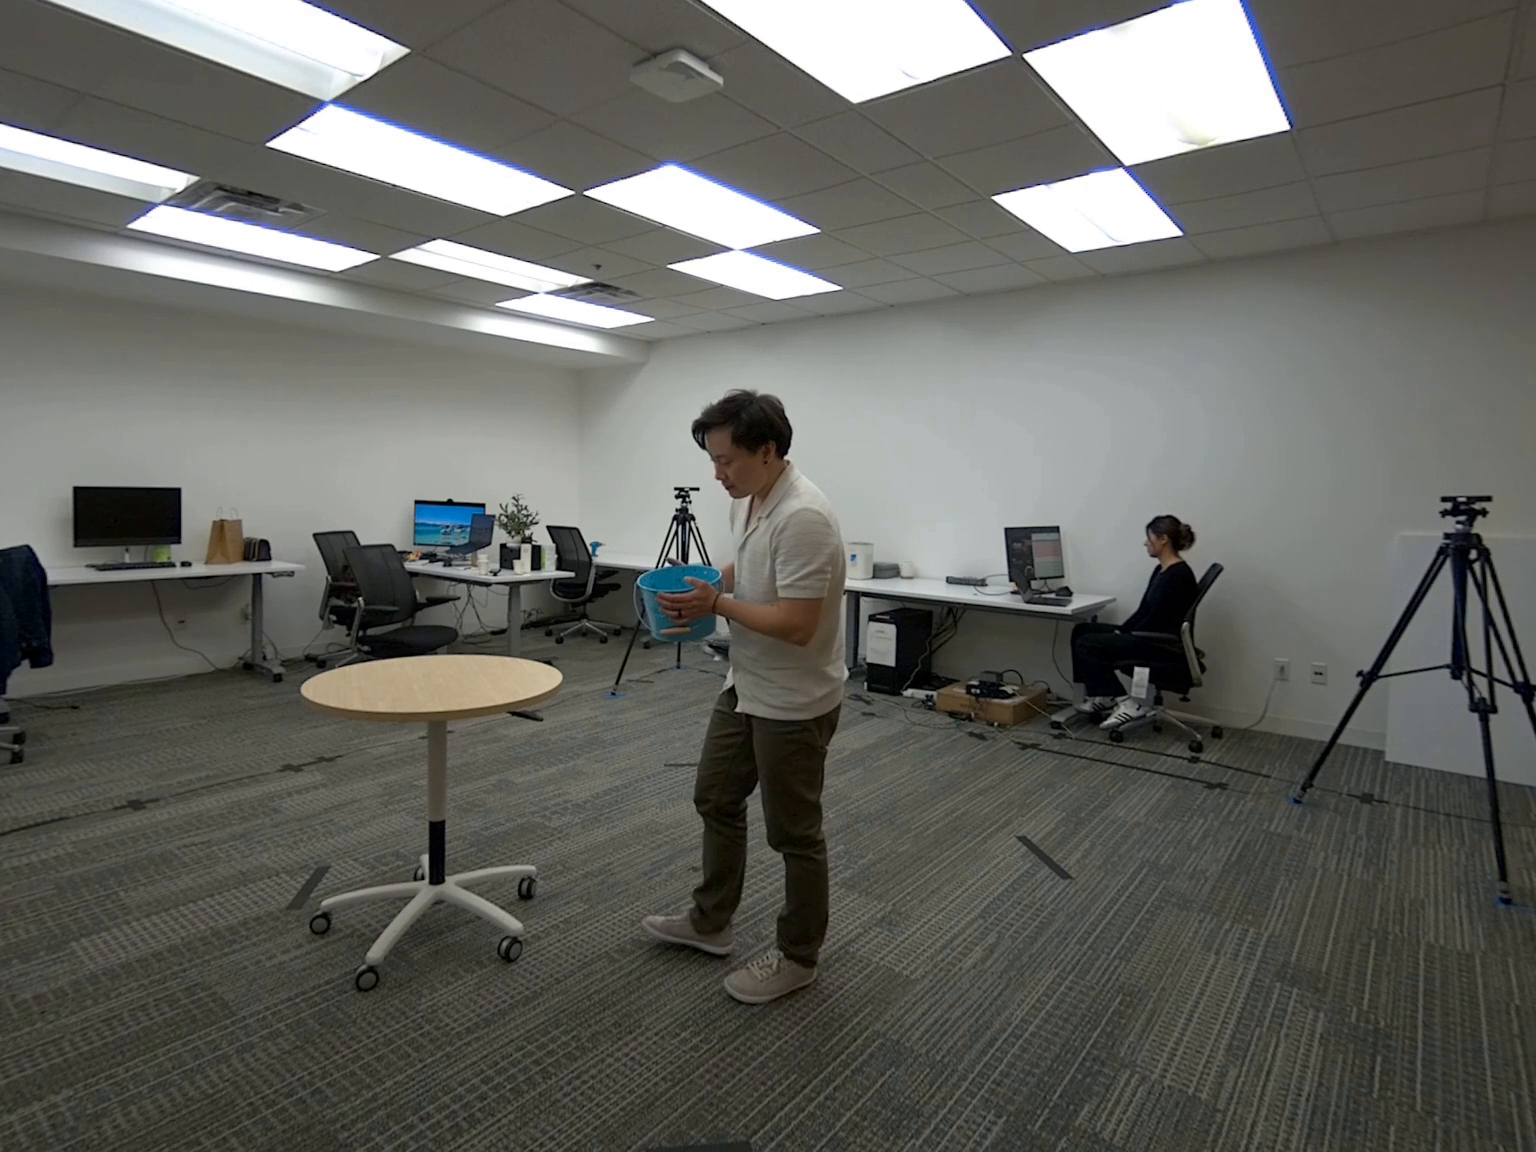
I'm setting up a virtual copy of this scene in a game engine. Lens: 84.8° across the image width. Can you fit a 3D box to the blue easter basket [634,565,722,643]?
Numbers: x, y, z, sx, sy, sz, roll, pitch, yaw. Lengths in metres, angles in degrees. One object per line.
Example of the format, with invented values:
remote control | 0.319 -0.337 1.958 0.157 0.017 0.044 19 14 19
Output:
blue easter basket | -0.249 0.076 2.328 0.243 0.154 0.247 -4 13 -1
